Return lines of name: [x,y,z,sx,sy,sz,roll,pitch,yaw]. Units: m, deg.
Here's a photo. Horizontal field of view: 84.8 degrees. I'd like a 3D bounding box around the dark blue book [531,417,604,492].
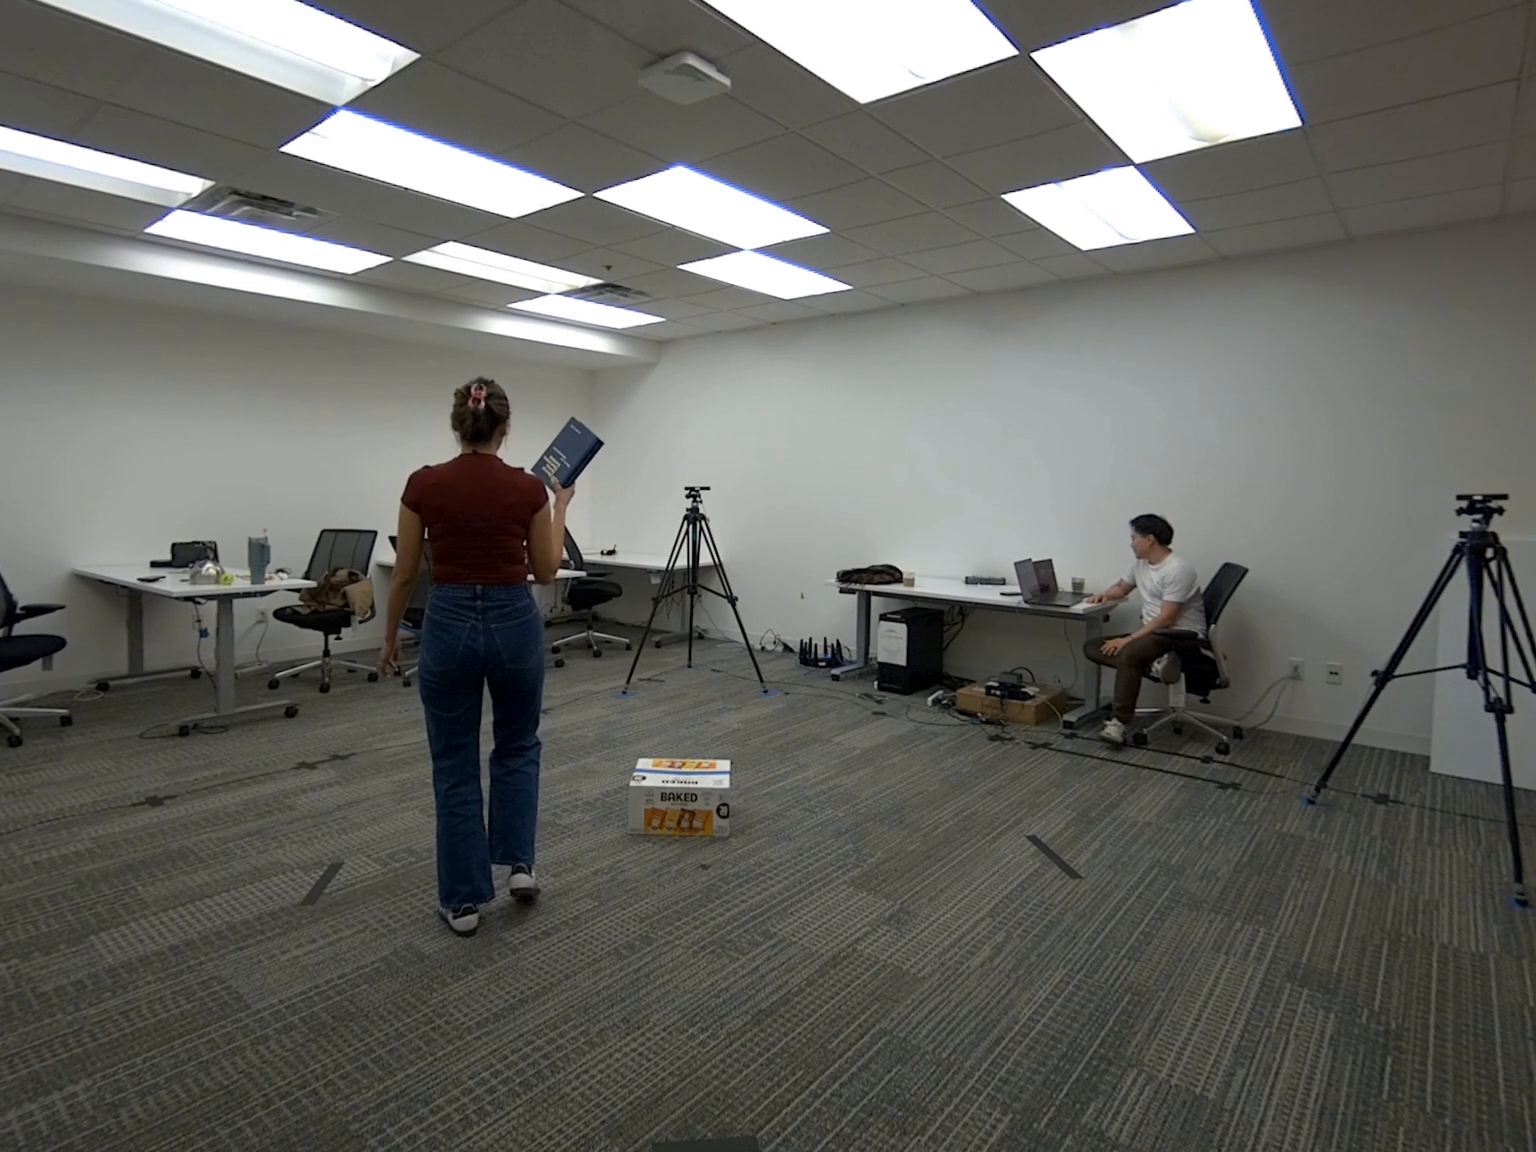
dark blue book: [-0.711,-0.419,2.985,0.170,0.245,0.043,41,3,31]
